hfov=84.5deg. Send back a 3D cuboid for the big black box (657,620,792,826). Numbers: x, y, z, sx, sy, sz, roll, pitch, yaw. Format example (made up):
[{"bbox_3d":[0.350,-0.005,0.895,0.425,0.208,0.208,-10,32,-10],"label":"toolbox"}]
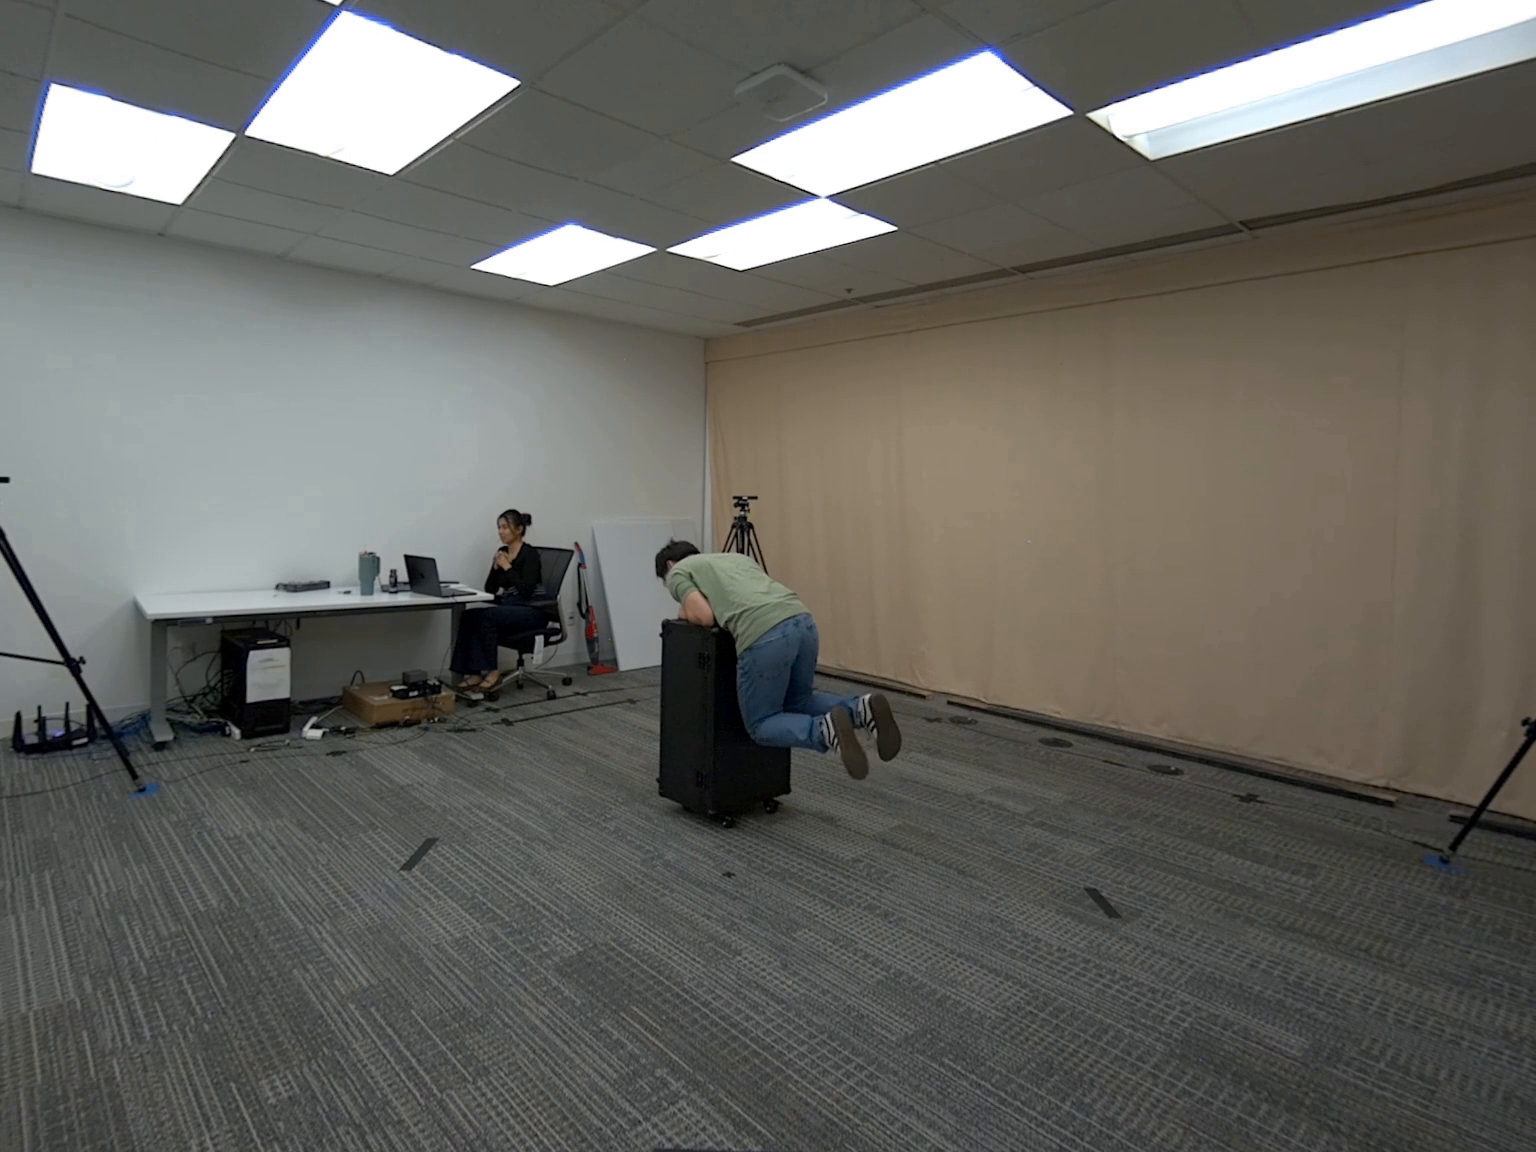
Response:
[{"bbox_3d":[-0.199,0.624,3.745,0.509,0.860,0.406,-3,3,-45],"label":"big black box"}]
